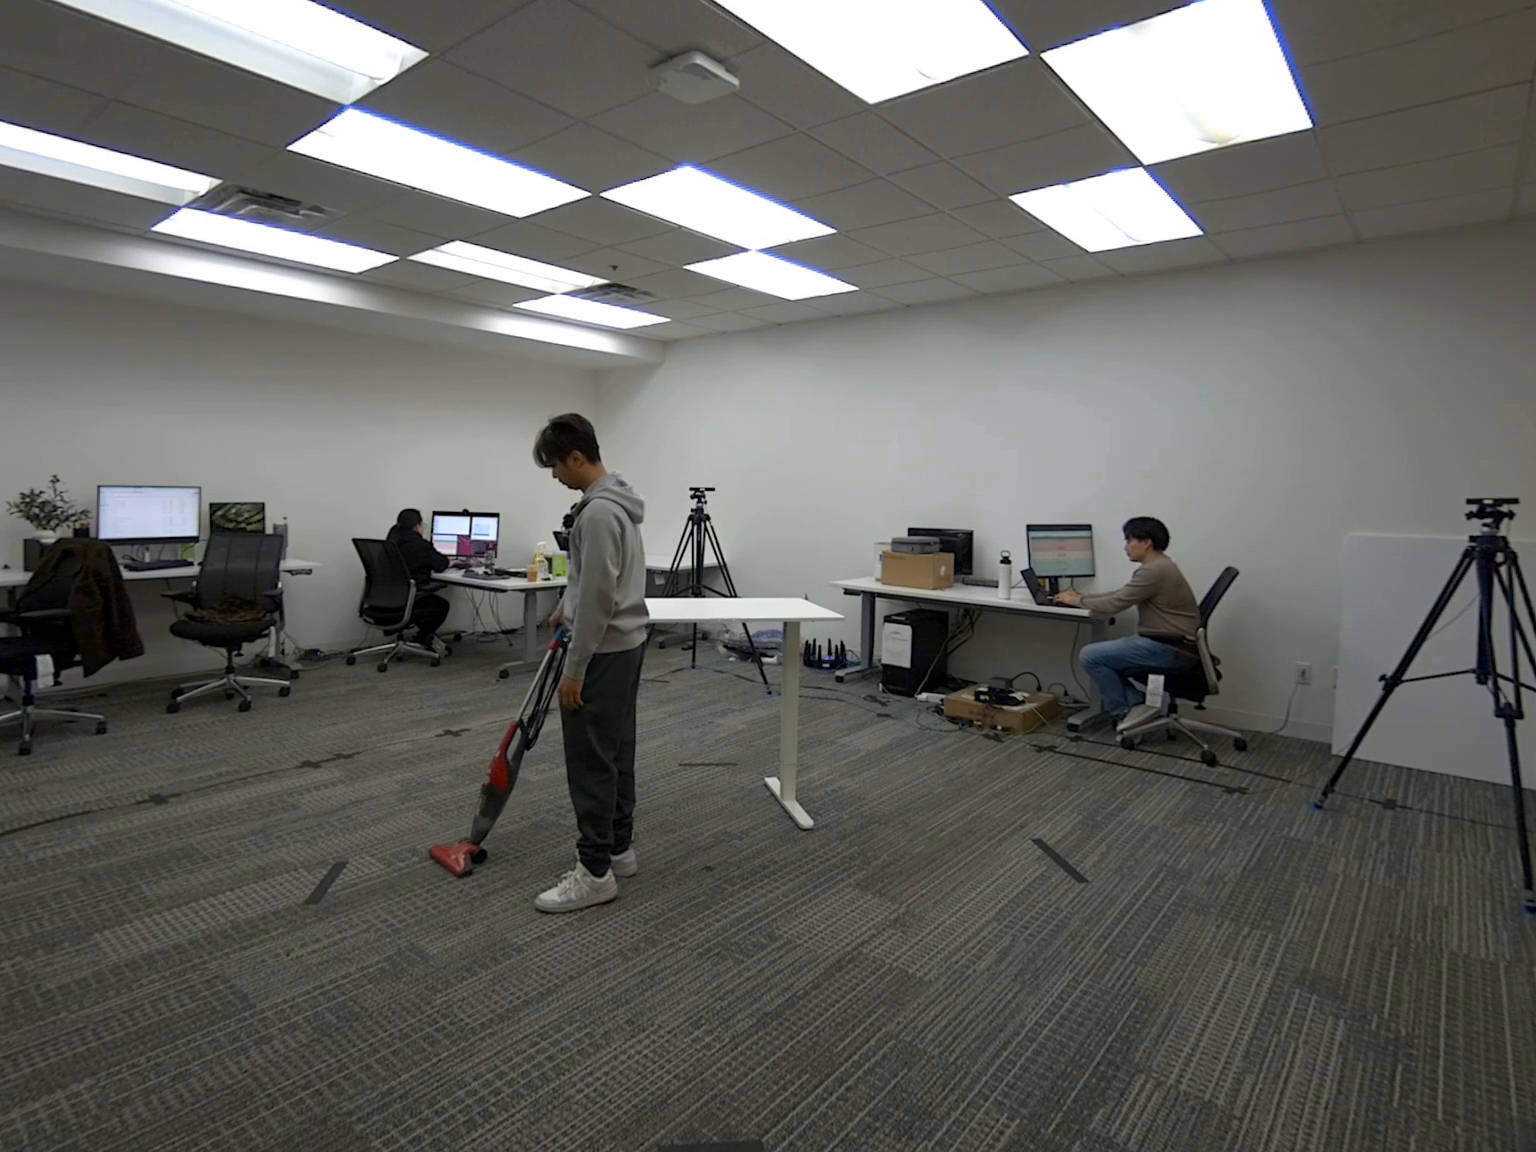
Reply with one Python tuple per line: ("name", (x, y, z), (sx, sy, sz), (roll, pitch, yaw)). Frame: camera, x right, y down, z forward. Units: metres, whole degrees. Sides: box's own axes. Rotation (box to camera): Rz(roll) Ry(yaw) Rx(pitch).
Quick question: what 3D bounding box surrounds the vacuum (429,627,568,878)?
("vacuum", (-0.953, 0.580, 3.275), (0.261, 1.057, 0.138), (6, -23, 44))
